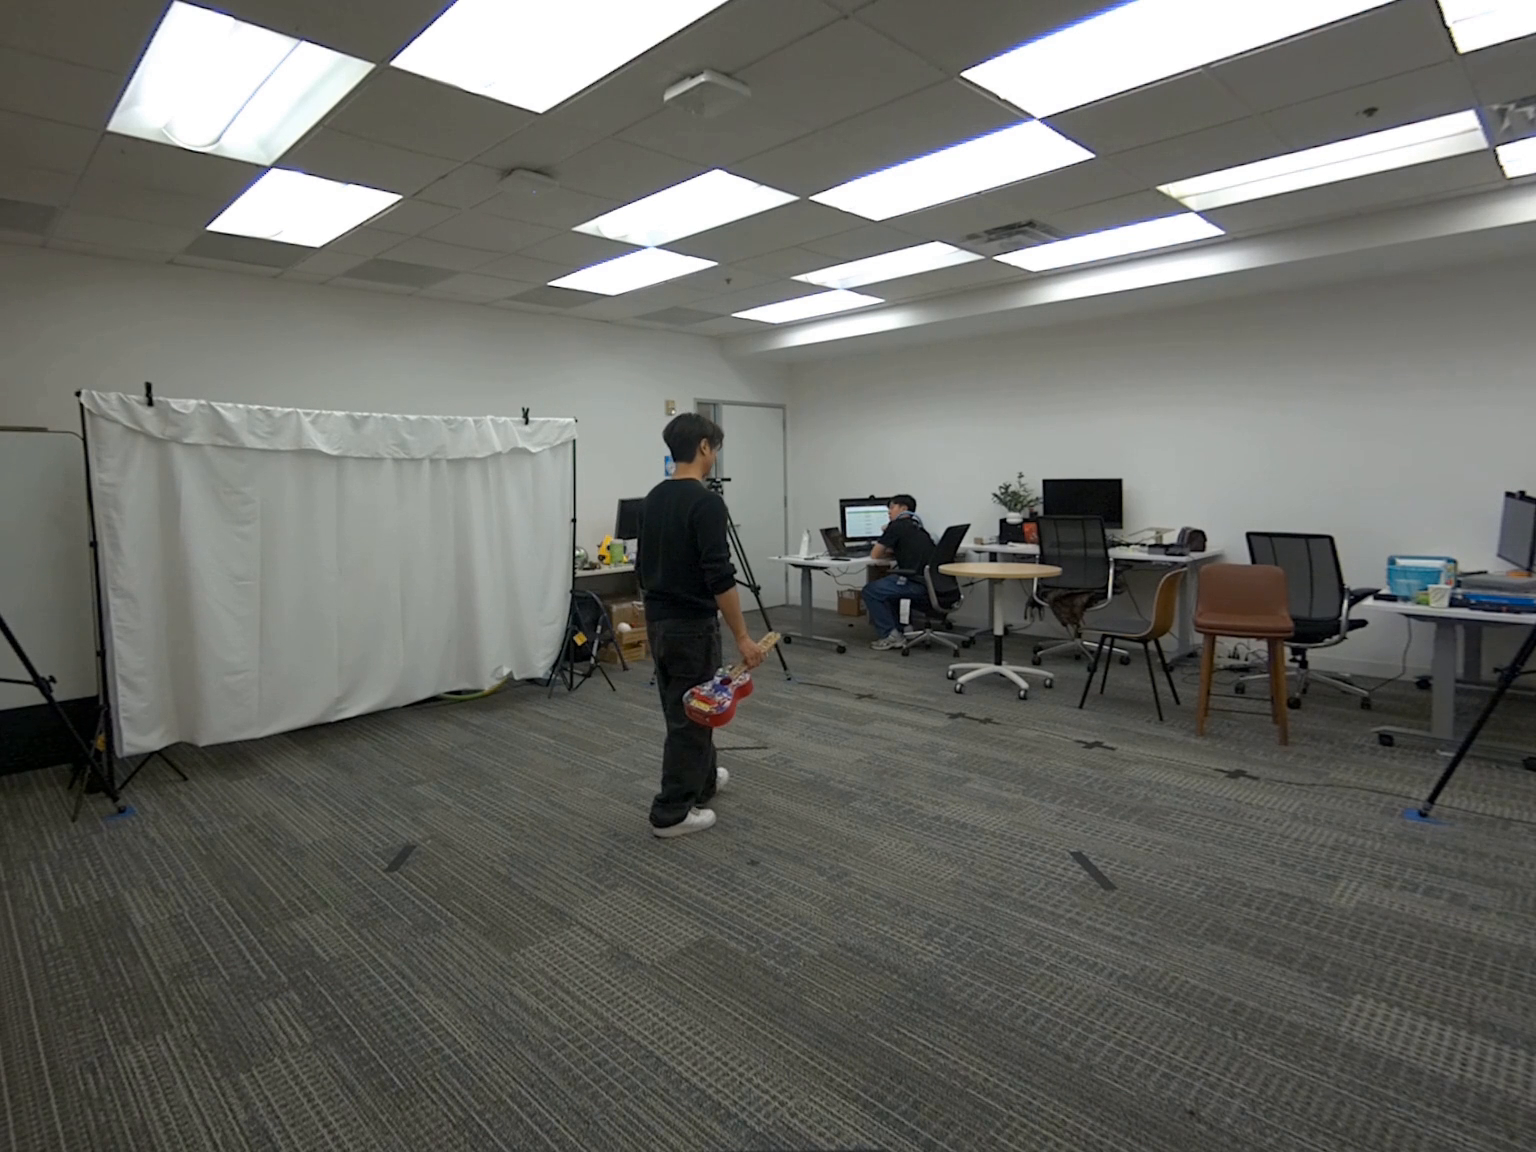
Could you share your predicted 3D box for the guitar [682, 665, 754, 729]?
[{"bbox_3d":[-0.089,0.380,3.165,0.493,0.069,0.200,-33,36,-31],"label":"guitar"}]
